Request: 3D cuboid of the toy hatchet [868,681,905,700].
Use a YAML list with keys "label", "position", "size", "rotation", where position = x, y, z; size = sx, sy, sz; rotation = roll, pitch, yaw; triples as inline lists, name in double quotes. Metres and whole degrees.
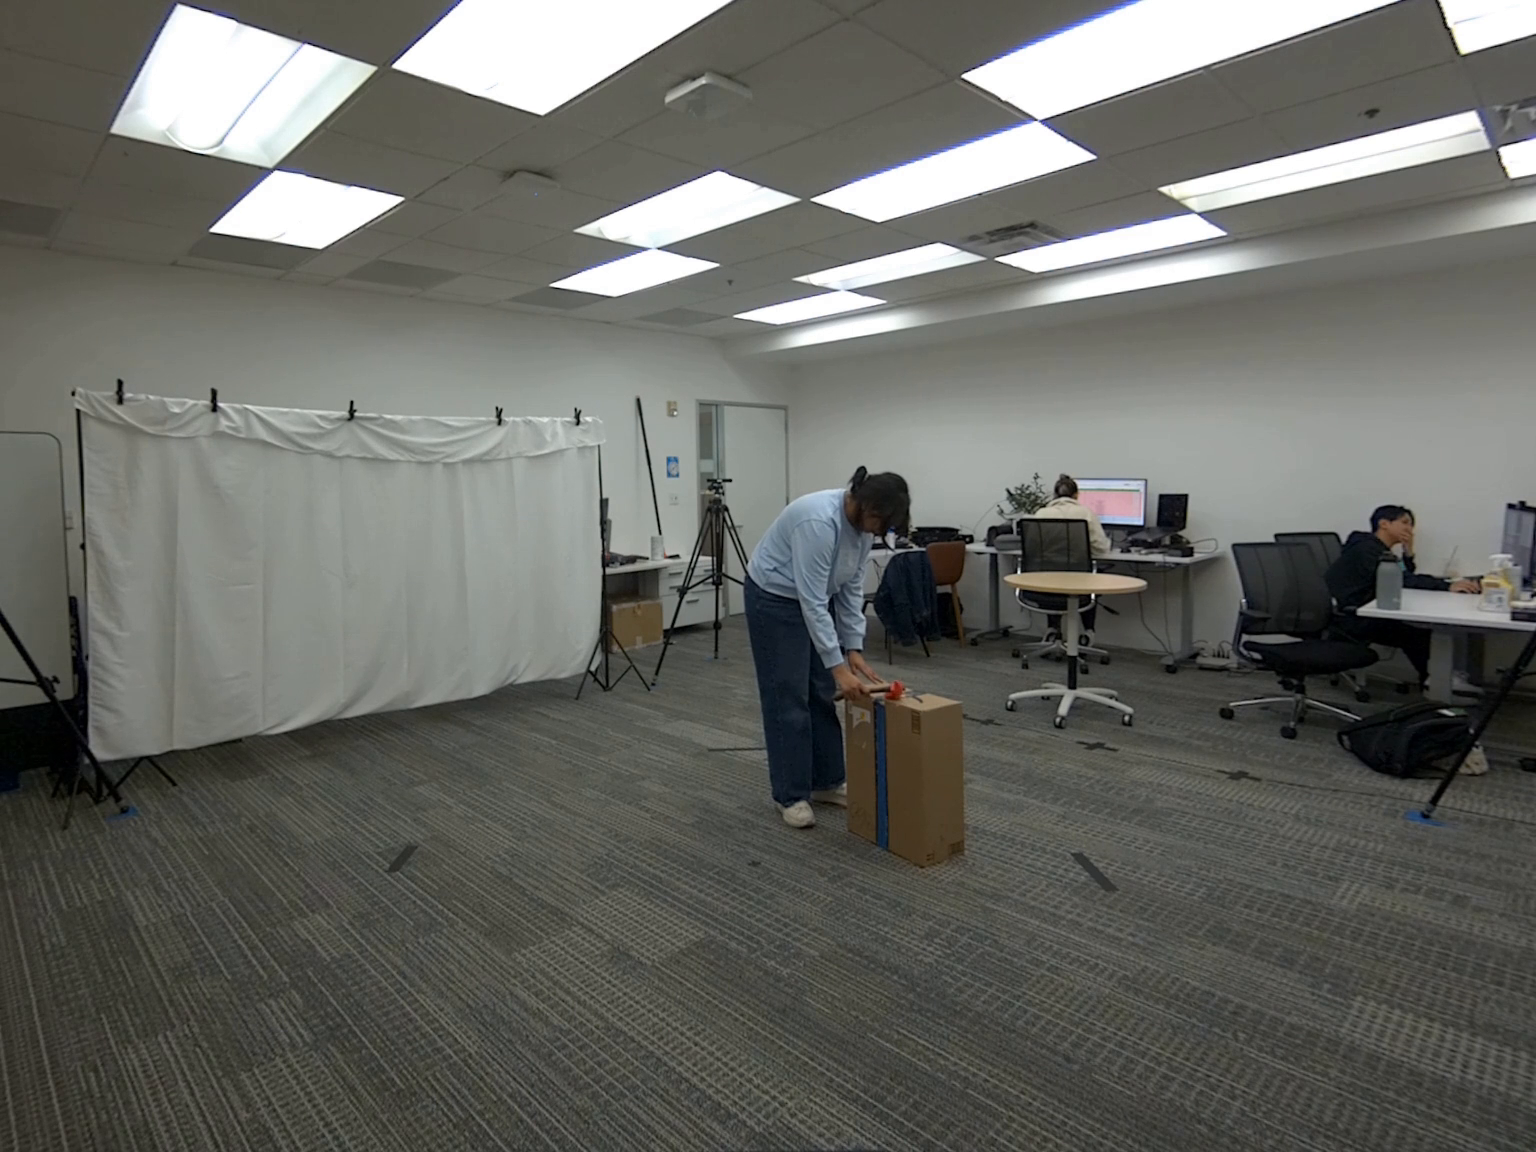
- label: "toy hatchet"
  position: [0.383, 0.451, 3.226]
  size: [0.274, 0.030, 0.126]
  rotation: [-17, -35, 27]
